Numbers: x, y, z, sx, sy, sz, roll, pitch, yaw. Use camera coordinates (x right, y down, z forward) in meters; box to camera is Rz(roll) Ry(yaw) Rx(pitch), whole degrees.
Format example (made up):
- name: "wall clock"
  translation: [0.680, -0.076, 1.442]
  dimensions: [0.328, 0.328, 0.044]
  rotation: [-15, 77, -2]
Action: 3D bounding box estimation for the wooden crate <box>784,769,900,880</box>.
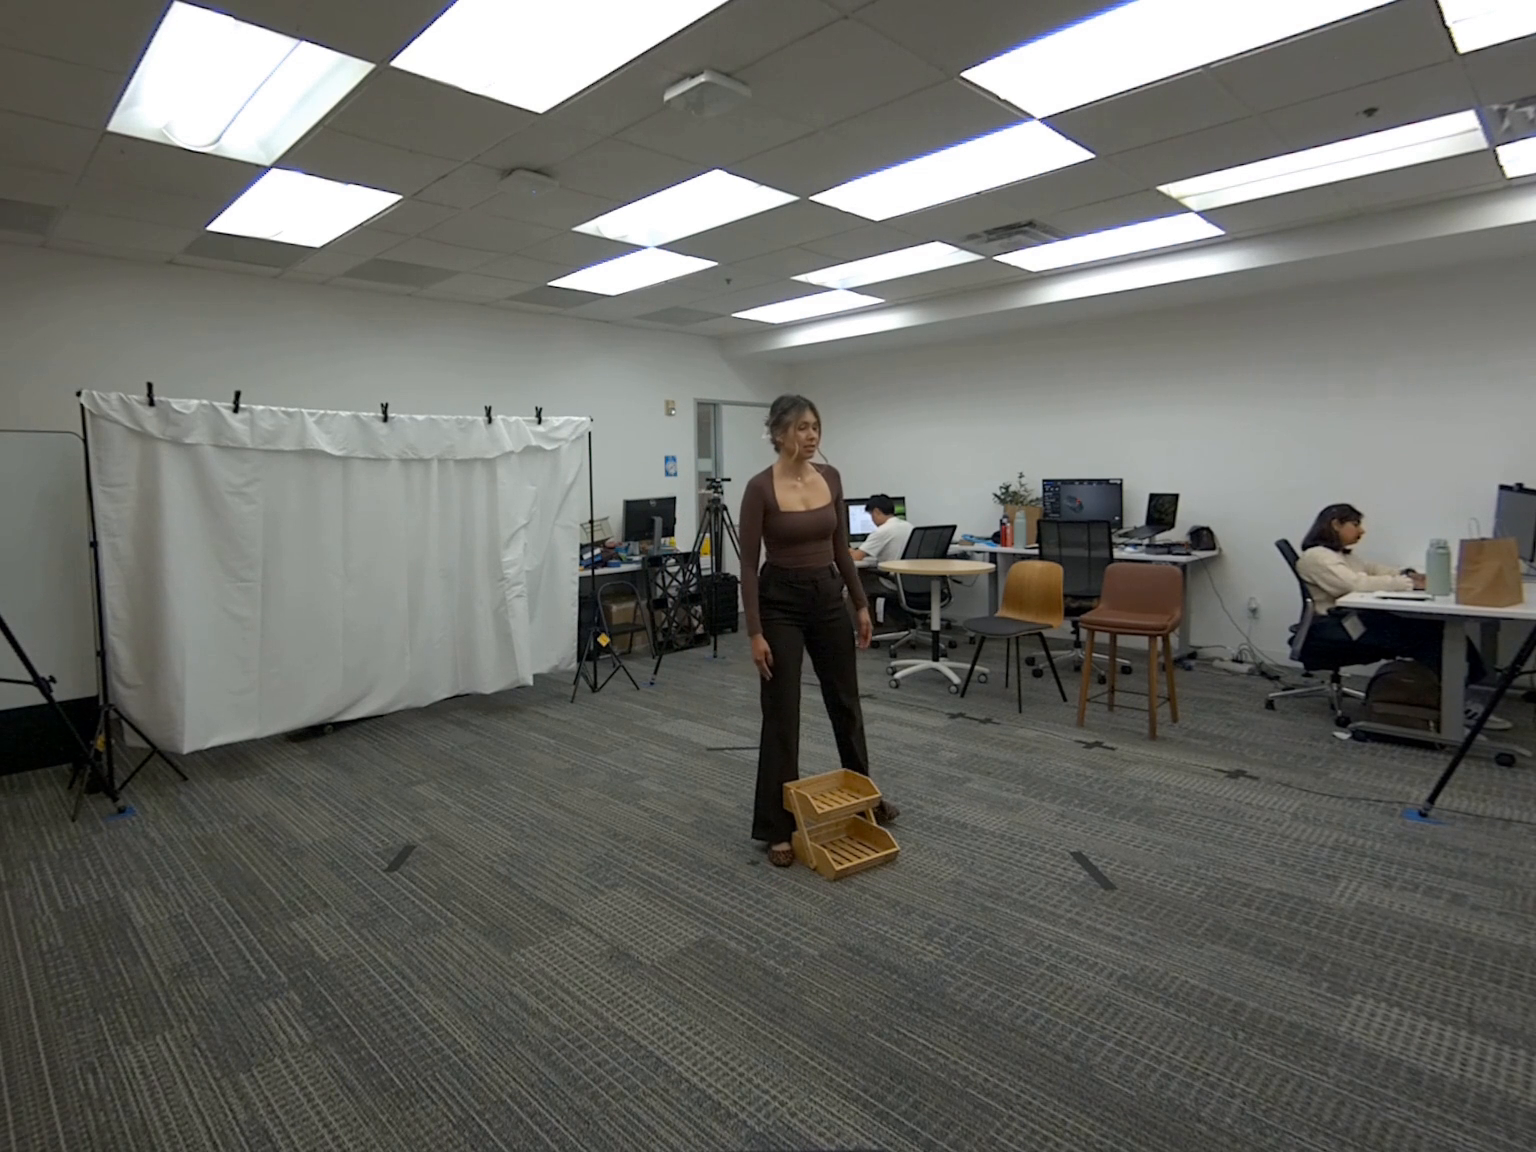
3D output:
- name: "wooden crate"
  translation: [0.275, 0.905, 3.129]
  dimensions: [0.316, 0.272, 0.311]
  rotation: [-4, 5, -34]
